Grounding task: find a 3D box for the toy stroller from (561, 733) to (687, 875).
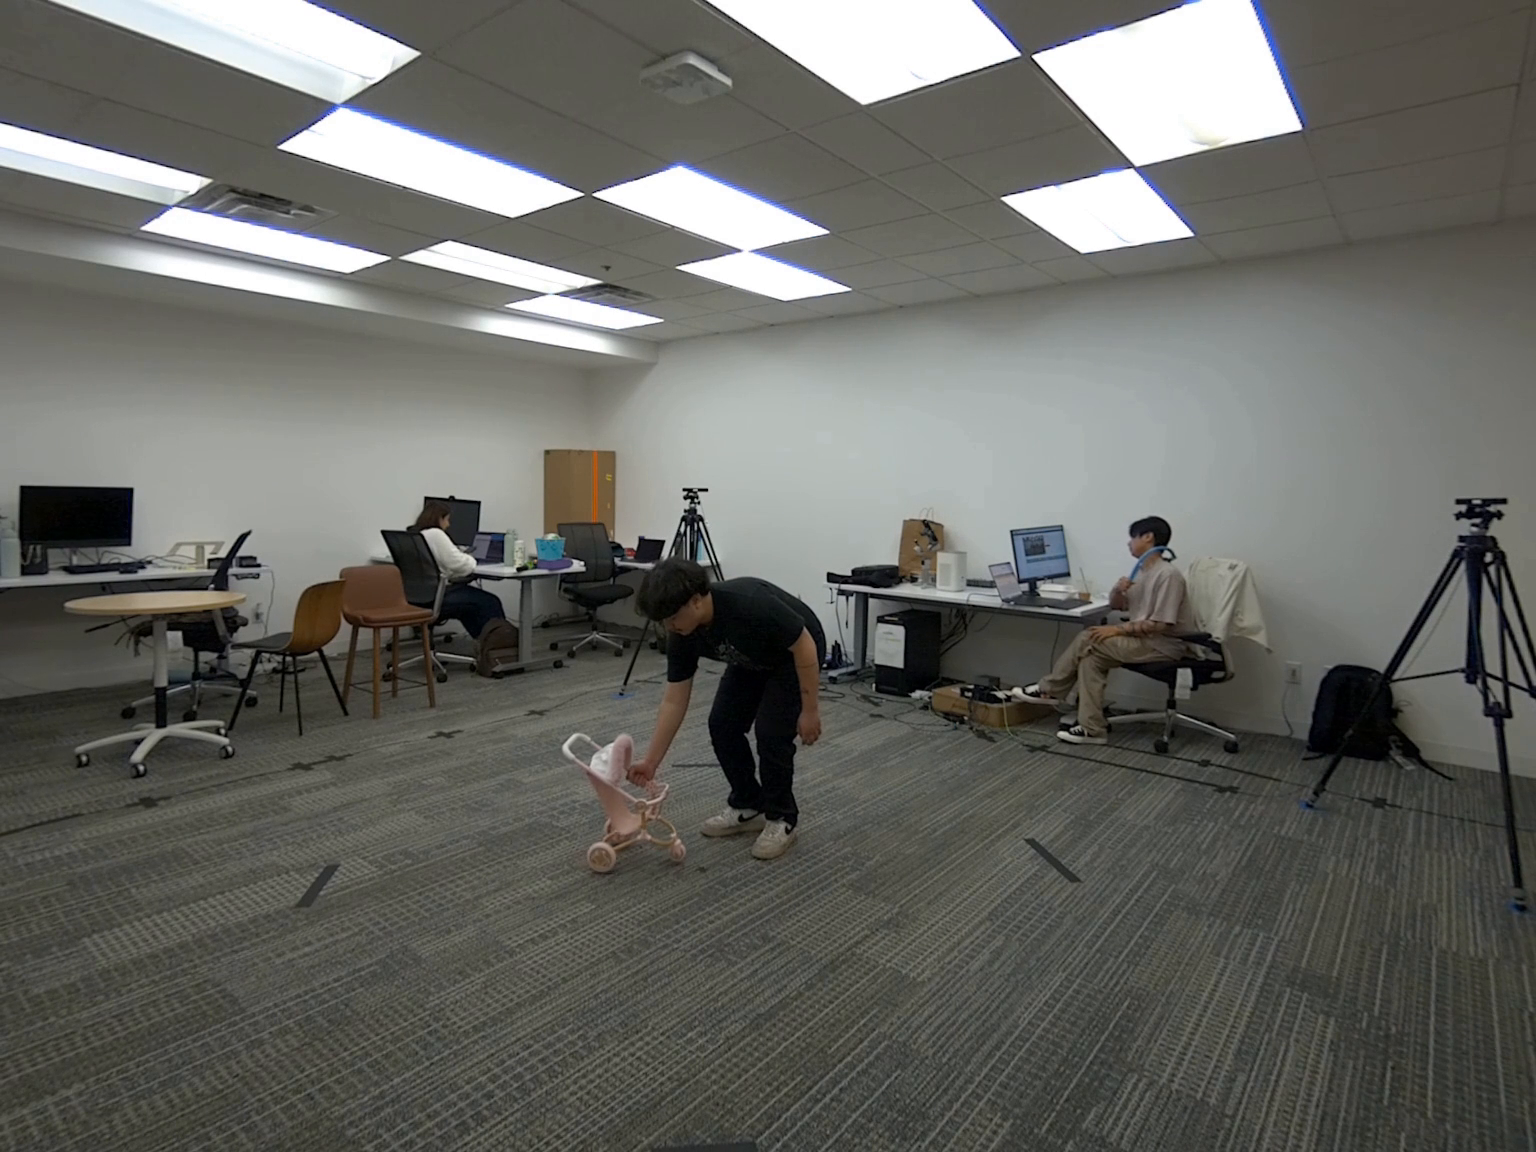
[{"bbox_3d":[-0.534,0.828,3.161,0.345,0.534,0.279,-14,2,11],"label":"toy stroller"}]
